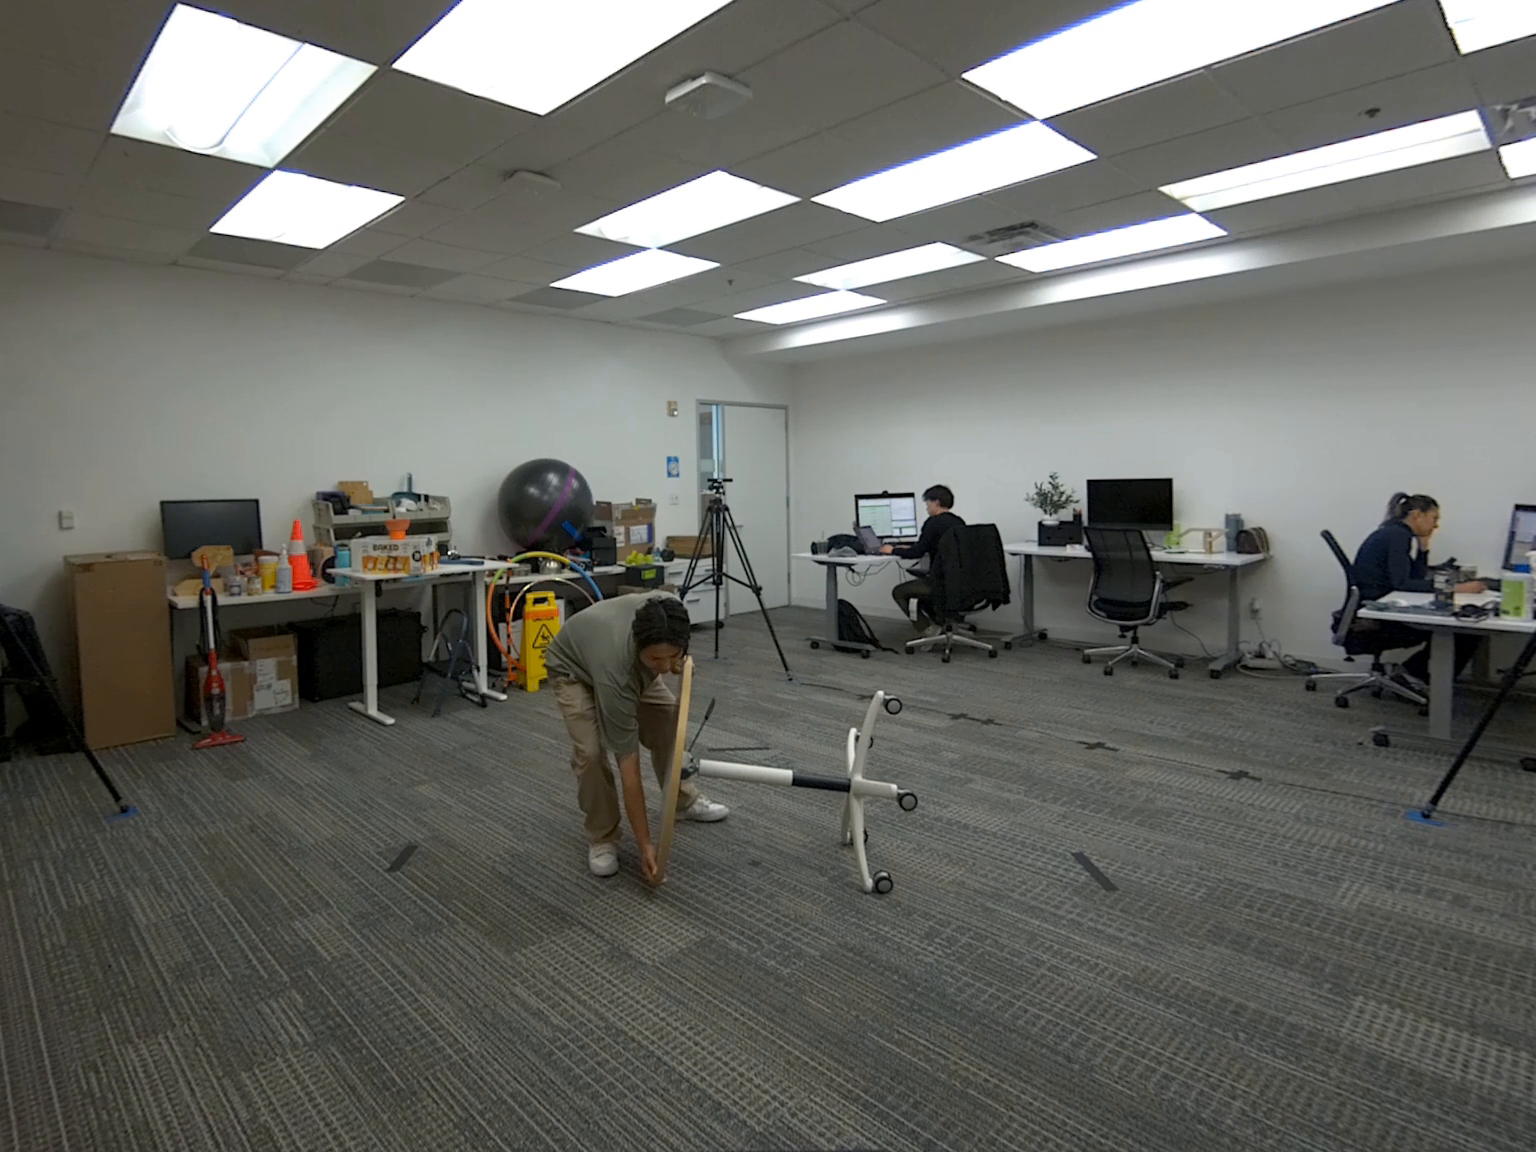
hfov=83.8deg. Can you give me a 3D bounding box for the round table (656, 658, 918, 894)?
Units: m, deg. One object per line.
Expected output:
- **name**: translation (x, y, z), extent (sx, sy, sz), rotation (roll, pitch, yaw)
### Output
- **round table**: translation (0.043, 0.706, 3.033), extent (0.783, 0.783, 0.791), rotation (6, 4, -5)
